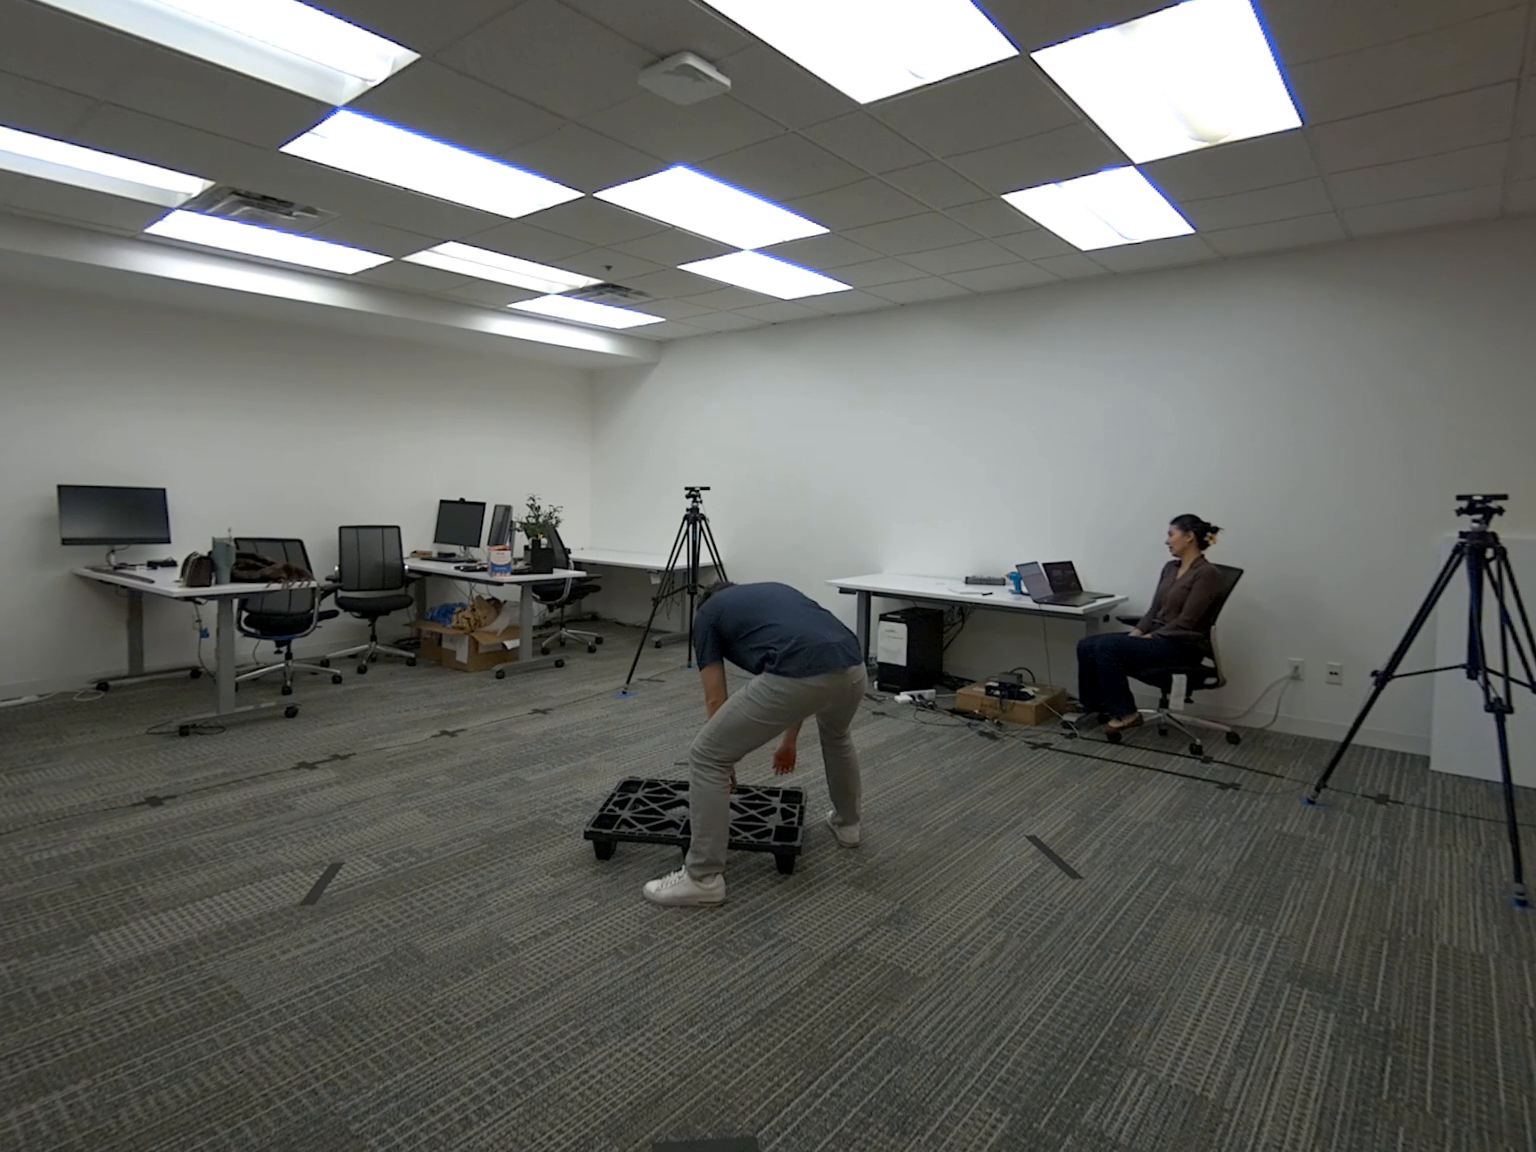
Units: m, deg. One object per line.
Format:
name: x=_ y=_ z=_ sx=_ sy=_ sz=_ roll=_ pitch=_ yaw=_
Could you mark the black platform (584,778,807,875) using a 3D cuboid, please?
black platform: x=-0.266 y=0.976 z=3.341 sx=0.812 sy=0.143 sz=0.603 roll=1 pitch=6 yaw=7
